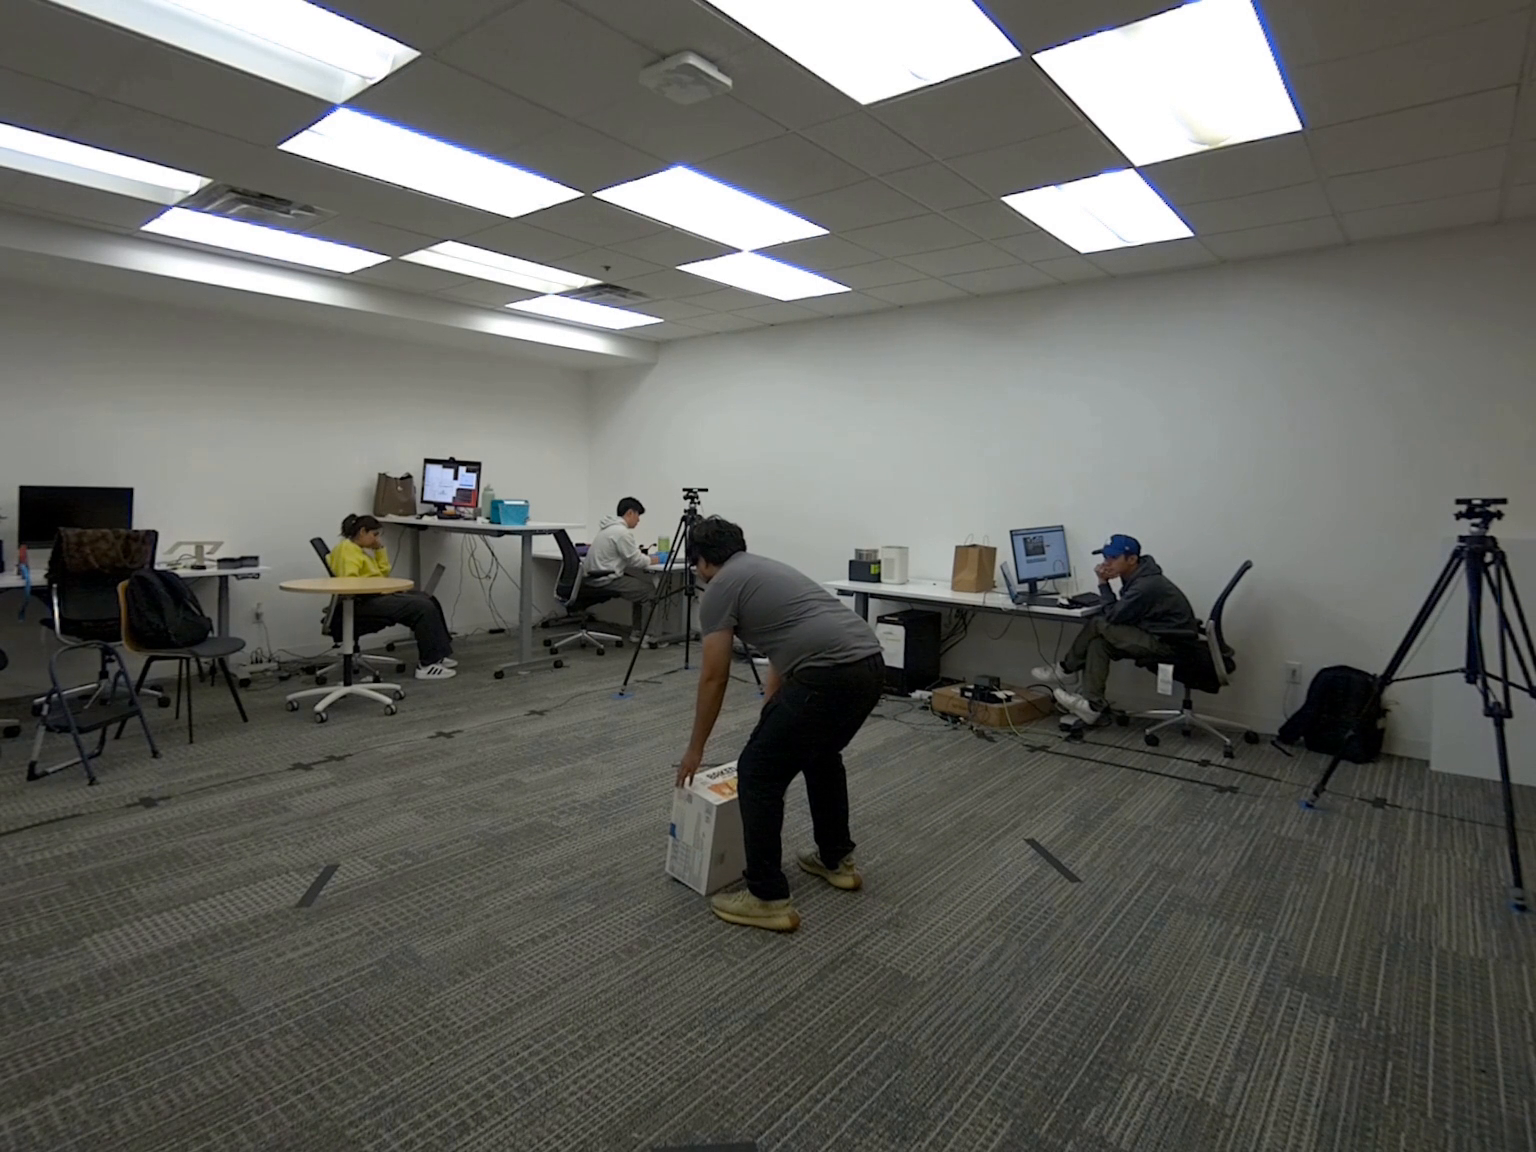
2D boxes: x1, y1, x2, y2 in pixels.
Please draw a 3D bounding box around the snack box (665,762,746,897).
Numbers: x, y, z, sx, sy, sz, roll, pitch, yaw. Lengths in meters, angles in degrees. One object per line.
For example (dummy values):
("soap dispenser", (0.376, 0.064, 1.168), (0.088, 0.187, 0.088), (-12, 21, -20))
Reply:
("snack box", (-0.153, 0.892, 3.088), (0.213, 0.338, 0.393), (14, 12, 39))
